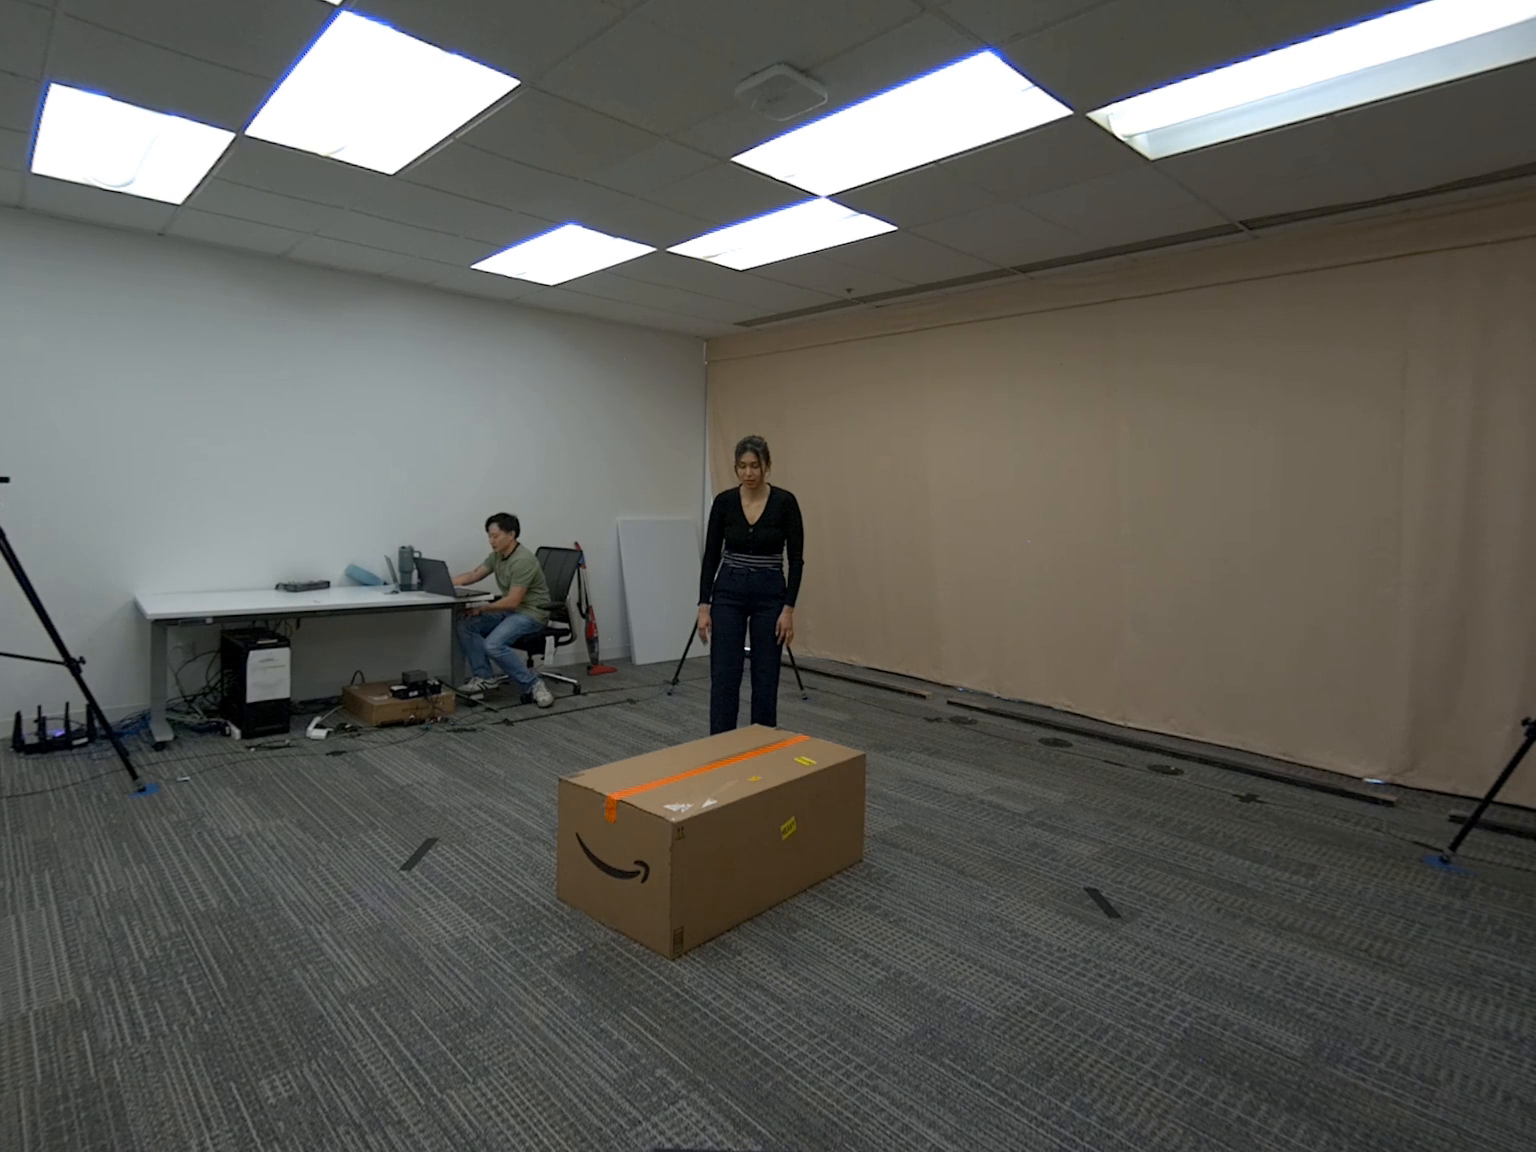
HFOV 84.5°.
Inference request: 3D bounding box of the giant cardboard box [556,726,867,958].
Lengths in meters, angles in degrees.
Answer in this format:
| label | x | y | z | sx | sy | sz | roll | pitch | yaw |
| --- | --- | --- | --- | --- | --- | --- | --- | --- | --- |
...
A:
| label | x | y | z | sx | sy | sz | roll | pitch | yaw |
| --- | --- | --- | --- | --- | --- | --- | --- | --- | --- |
| giant cardboard box | -0.180 | 0.892 | 3.064 | 0.592 | 0.425 | 1.003 | 4 | 6 | 41 |
